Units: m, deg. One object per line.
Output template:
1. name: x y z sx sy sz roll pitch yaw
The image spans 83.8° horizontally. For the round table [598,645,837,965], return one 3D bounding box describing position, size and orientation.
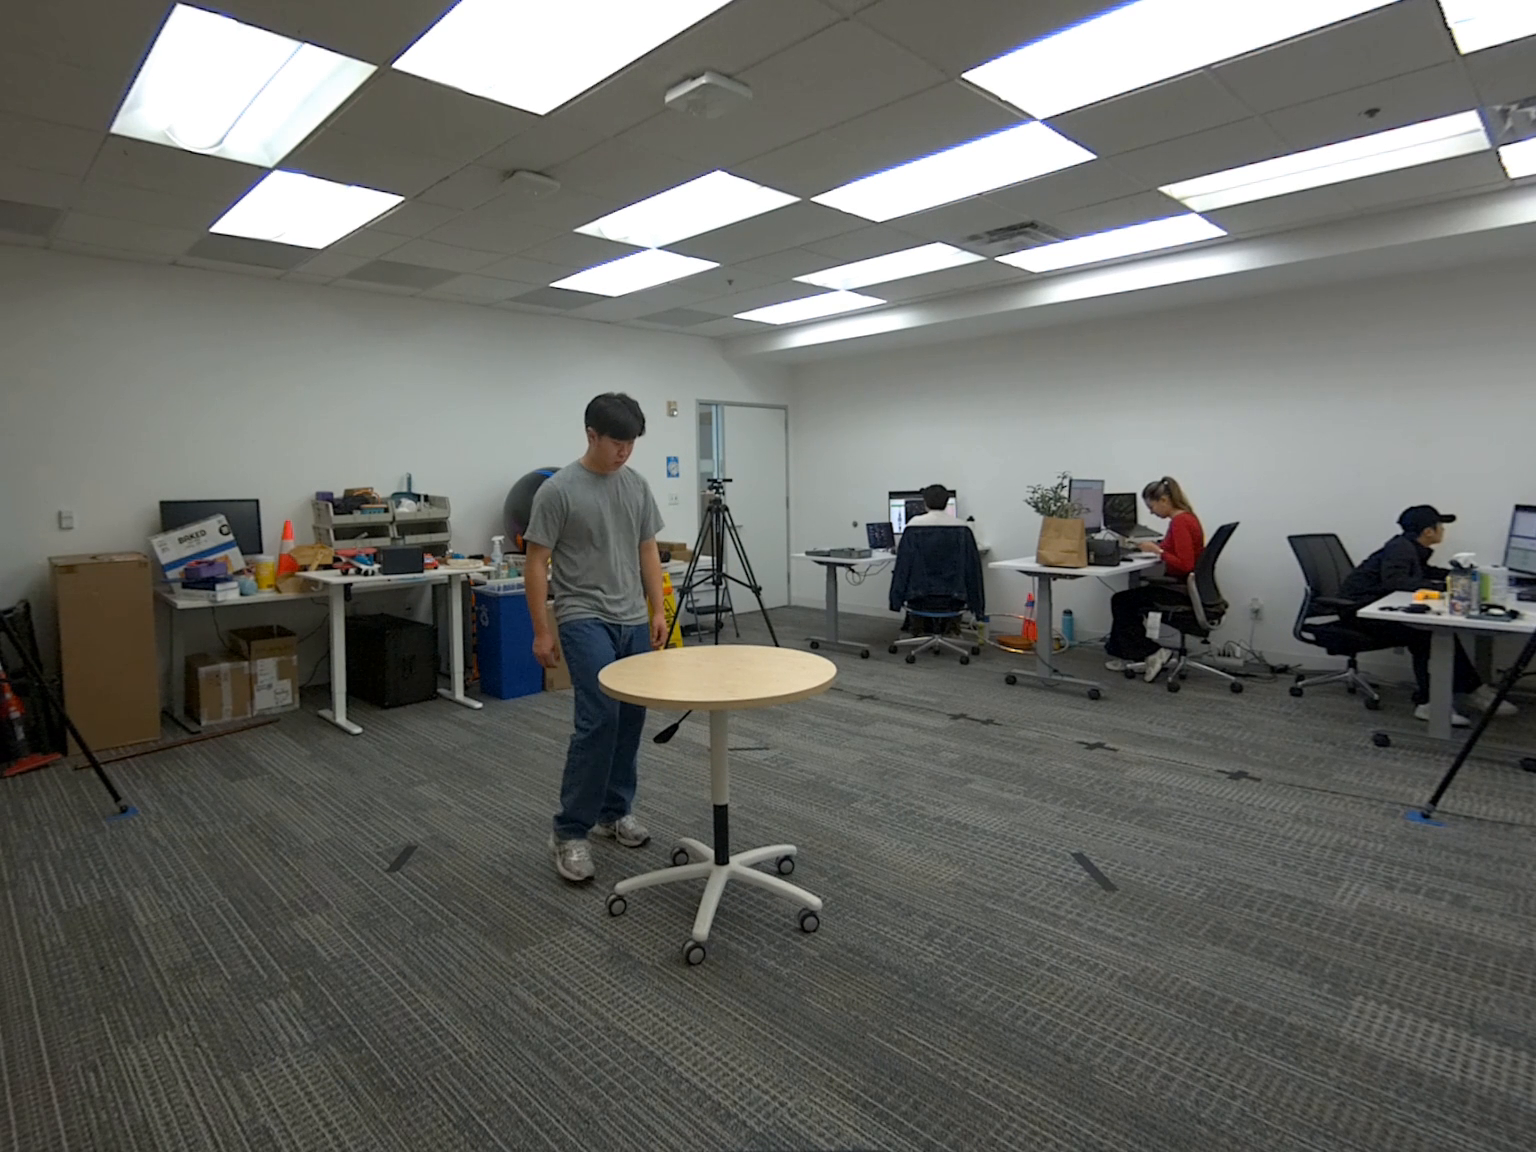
1. round table: -0.159 0.695 2.786 0.763 0.790 0.768 -1 5 -2
